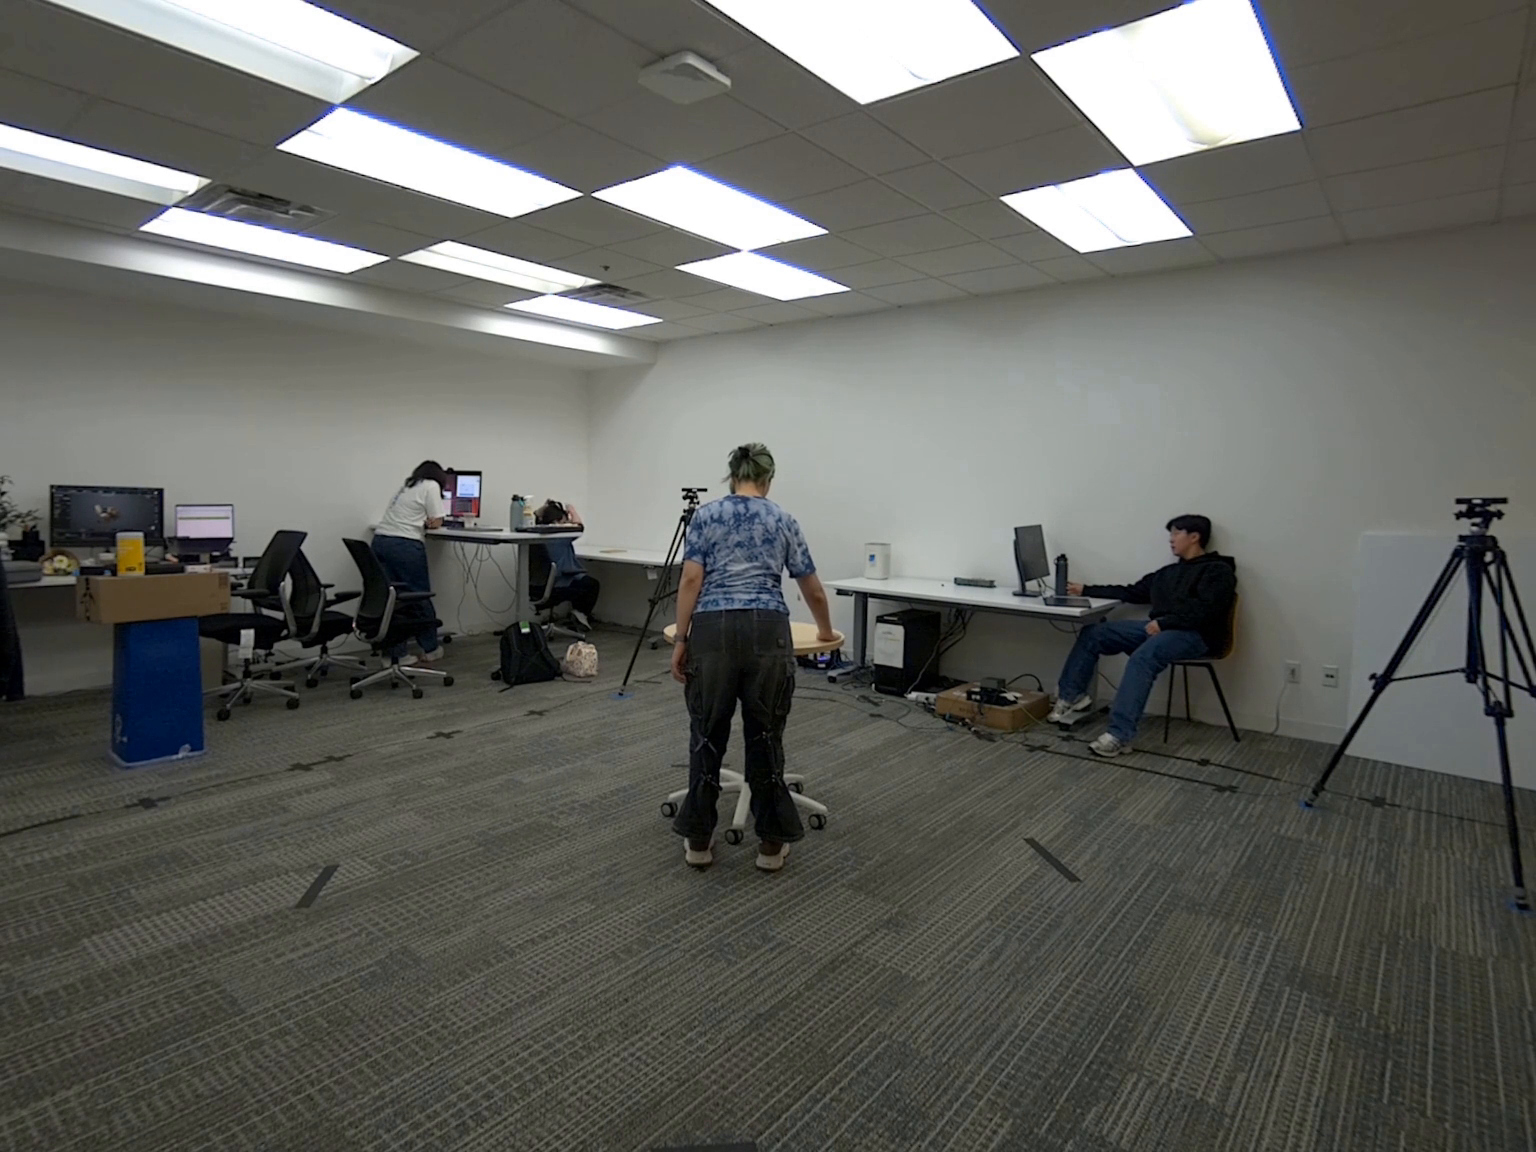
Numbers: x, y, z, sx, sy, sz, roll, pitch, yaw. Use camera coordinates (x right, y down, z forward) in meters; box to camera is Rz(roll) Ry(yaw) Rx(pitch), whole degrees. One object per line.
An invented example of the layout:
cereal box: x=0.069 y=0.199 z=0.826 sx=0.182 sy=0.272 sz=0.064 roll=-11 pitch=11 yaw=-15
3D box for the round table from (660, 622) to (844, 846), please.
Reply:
round table: x=-0.069 y=0.625 z=3.628 sx=0.784 sy=0.784 sz=0.789 roll=1 pitch=4 yaw=-2
